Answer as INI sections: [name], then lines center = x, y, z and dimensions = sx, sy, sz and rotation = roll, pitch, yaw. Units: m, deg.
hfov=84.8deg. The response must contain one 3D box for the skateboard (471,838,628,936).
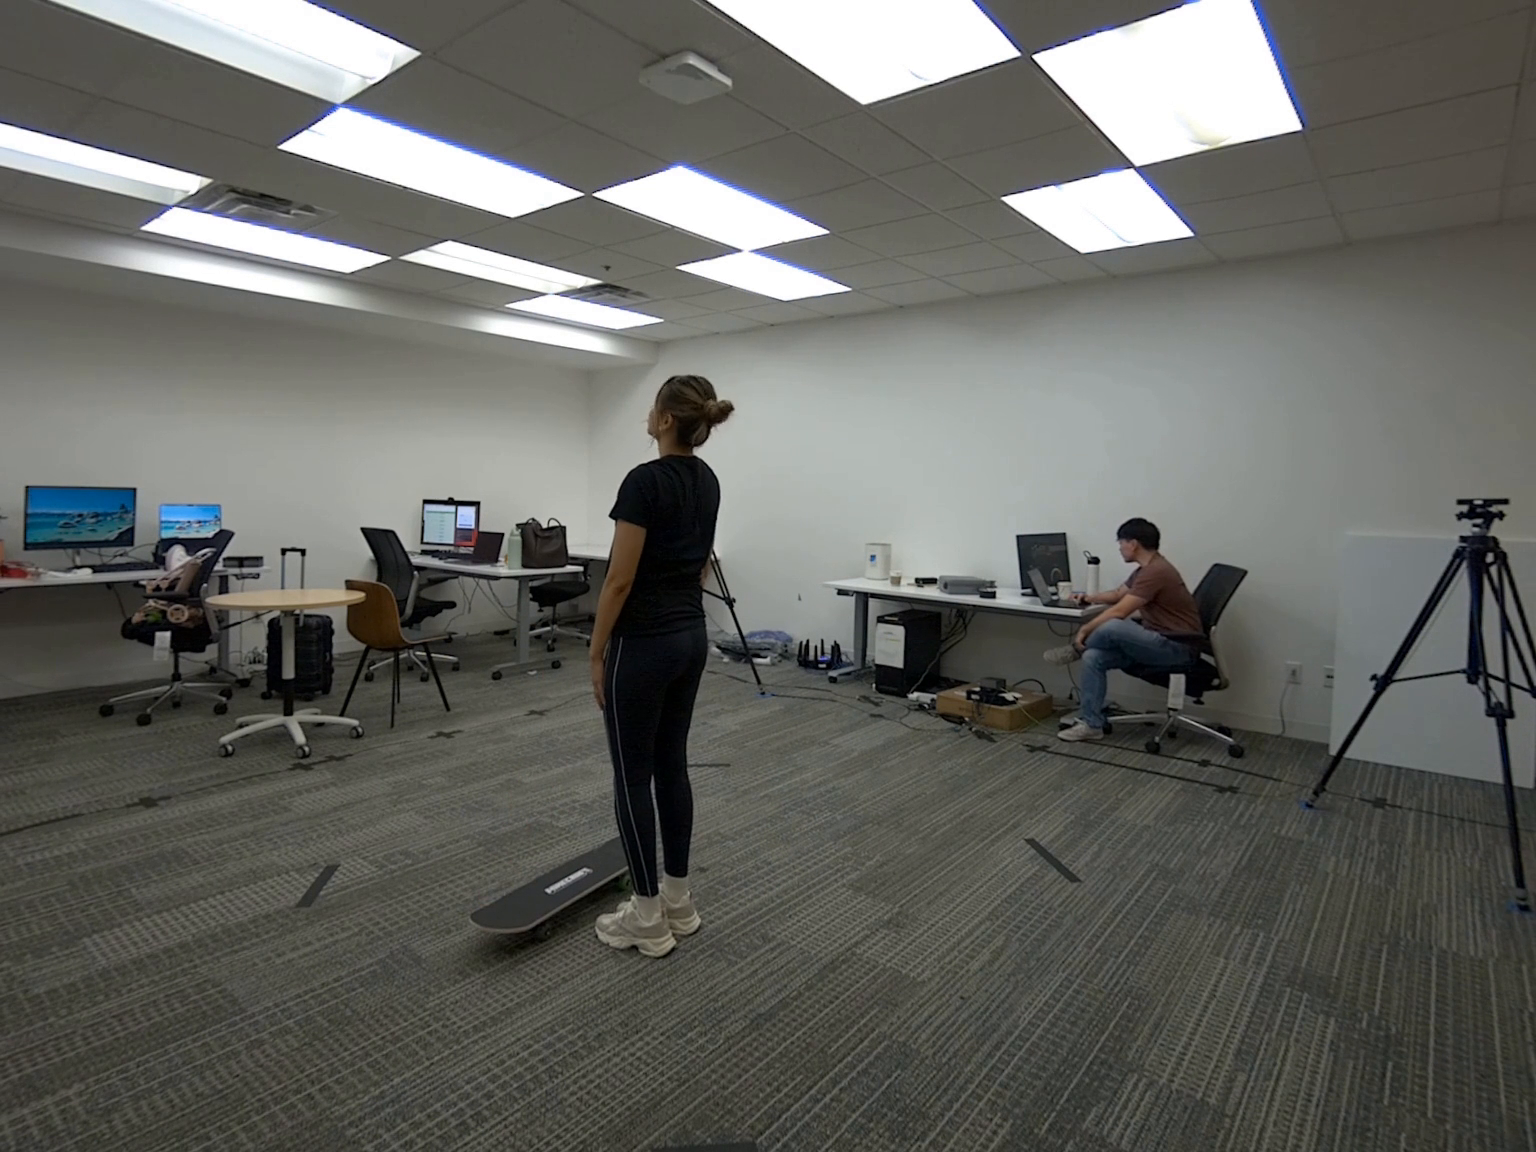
[skateboard]
center = -0.667, 1.035, 2.812
dimensions = 0.199, 0.110, 0.766
rotation = 5, 7, 29
